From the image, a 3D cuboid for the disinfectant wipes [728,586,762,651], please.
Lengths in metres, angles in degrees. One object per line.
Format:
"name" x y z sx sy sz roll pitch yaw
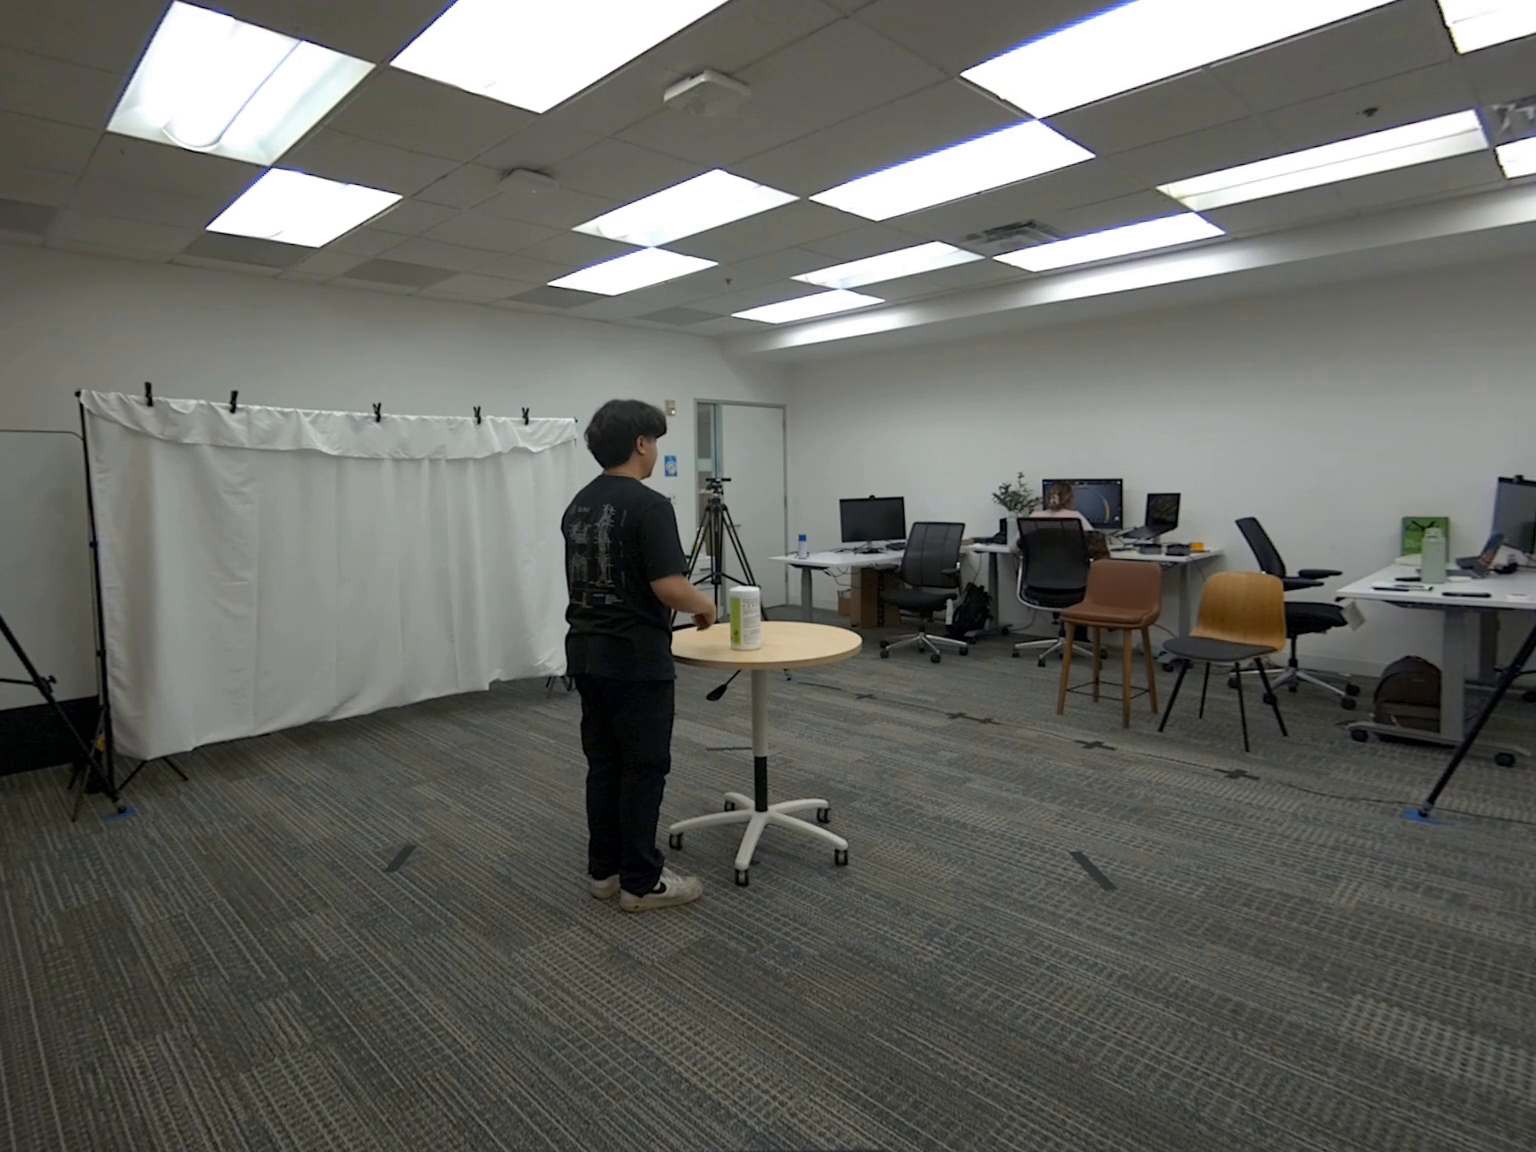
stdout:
"disinfectant wipes" -0.069 0.152 3.042 0.118 0.217 0.118 -3 4 -1
